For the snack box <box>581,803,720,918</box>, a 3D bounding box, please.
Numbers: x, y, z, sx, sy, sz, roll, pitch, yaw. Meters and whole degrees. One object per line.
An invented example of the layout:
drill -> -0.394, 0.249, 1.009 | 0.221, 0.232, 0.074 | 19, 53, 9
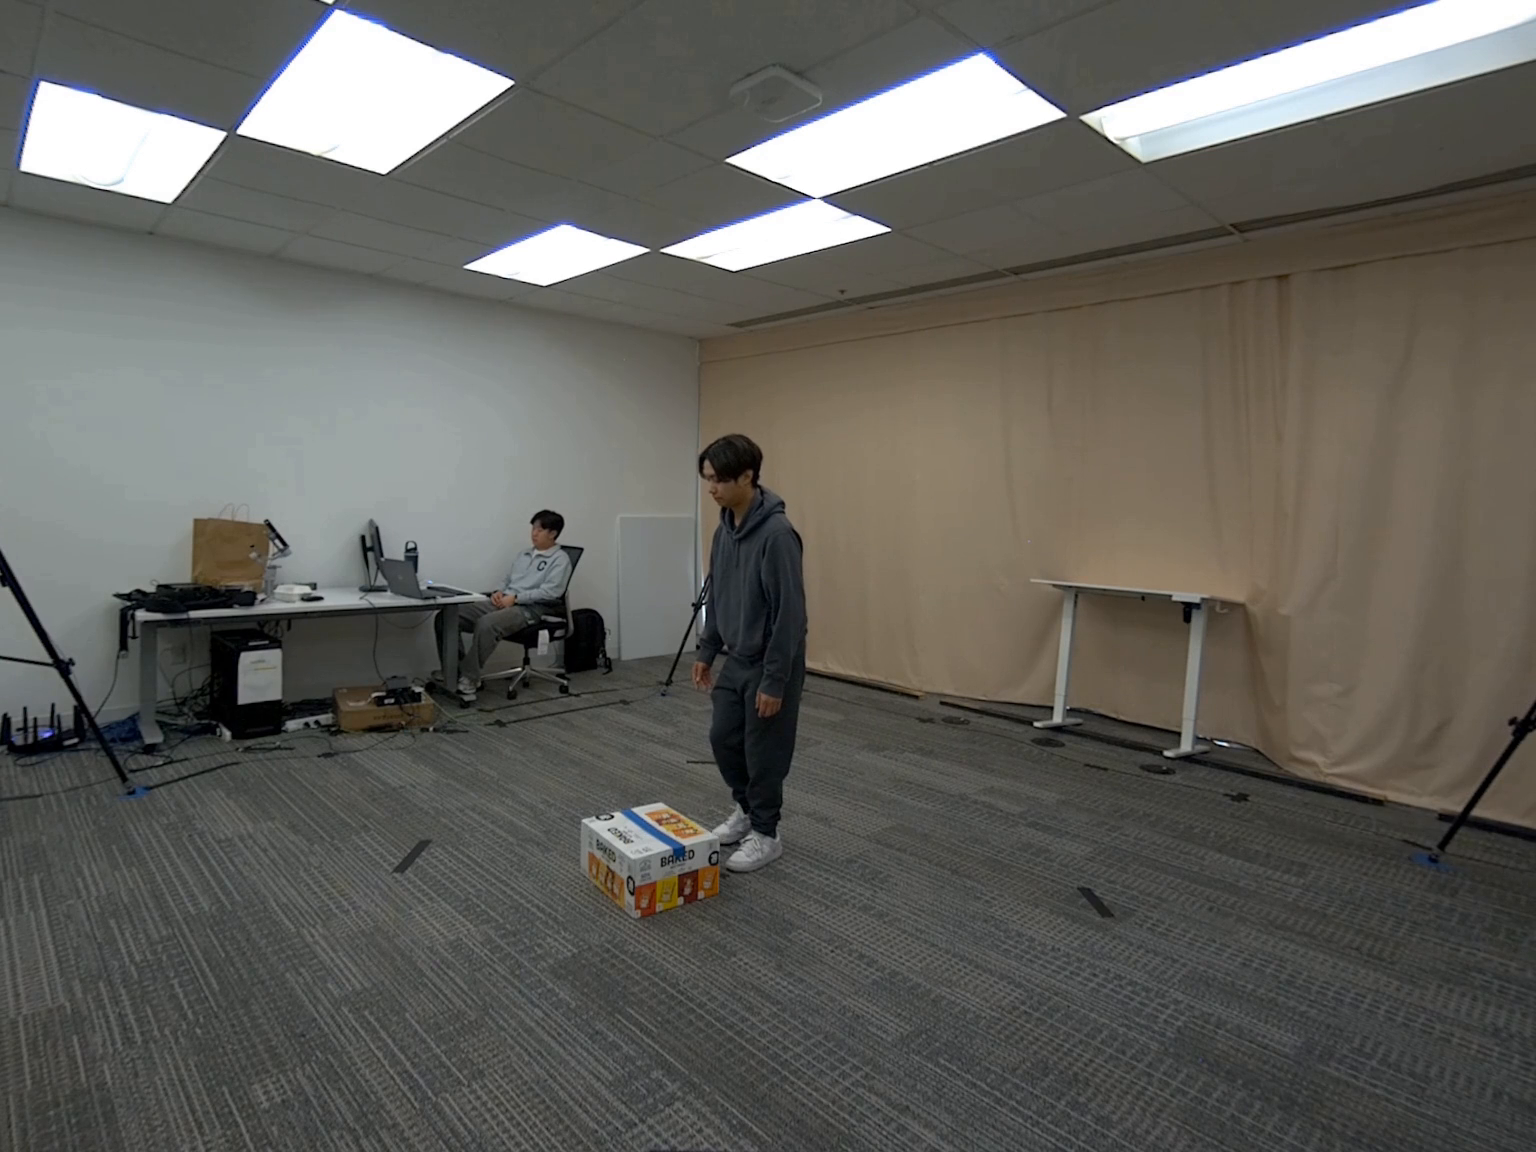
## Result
snack box -> -0.436, 1.008, 3.016 | 0.333, 0.205, 0.415 | -2, 6, -37
